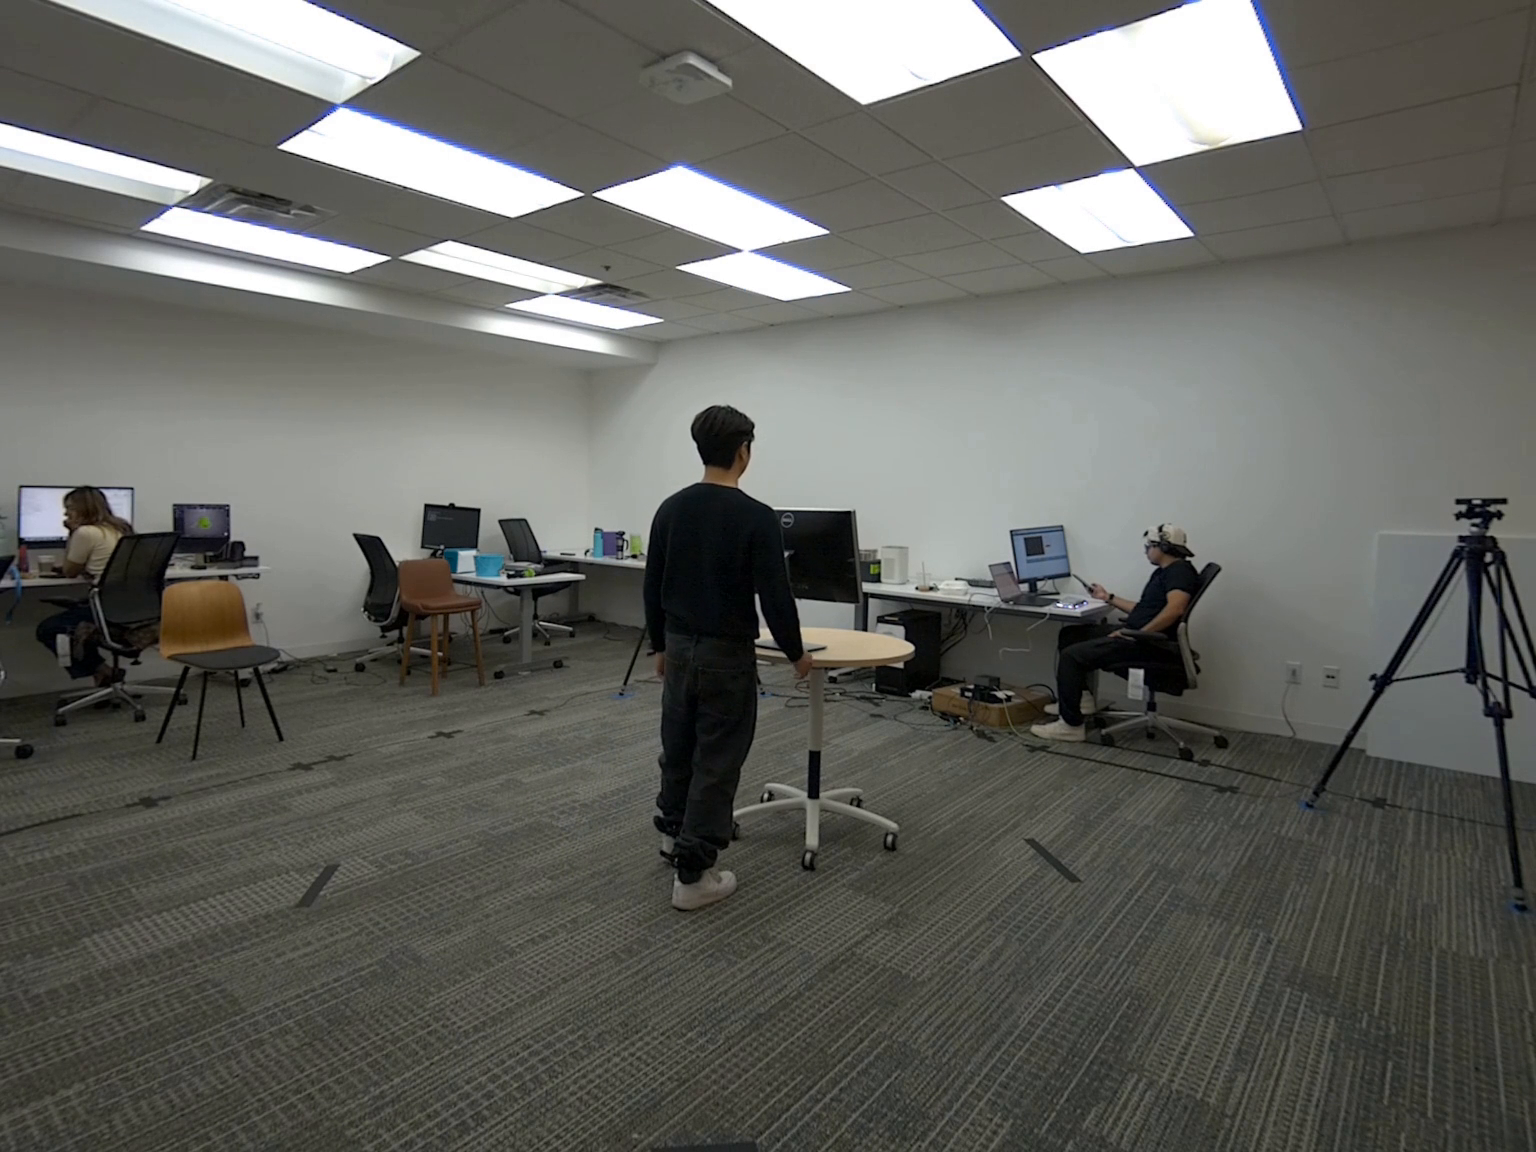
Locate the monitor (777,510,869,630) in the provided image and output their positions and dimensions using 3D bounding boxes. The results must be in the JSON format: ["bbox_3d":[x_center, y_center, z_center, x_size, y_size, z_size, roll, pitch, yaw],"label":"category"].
[{"bbox_3d":[0.075,0.010,3.298,0.556,0.522,0.181,3,2,35],"label":"monitor"}]
